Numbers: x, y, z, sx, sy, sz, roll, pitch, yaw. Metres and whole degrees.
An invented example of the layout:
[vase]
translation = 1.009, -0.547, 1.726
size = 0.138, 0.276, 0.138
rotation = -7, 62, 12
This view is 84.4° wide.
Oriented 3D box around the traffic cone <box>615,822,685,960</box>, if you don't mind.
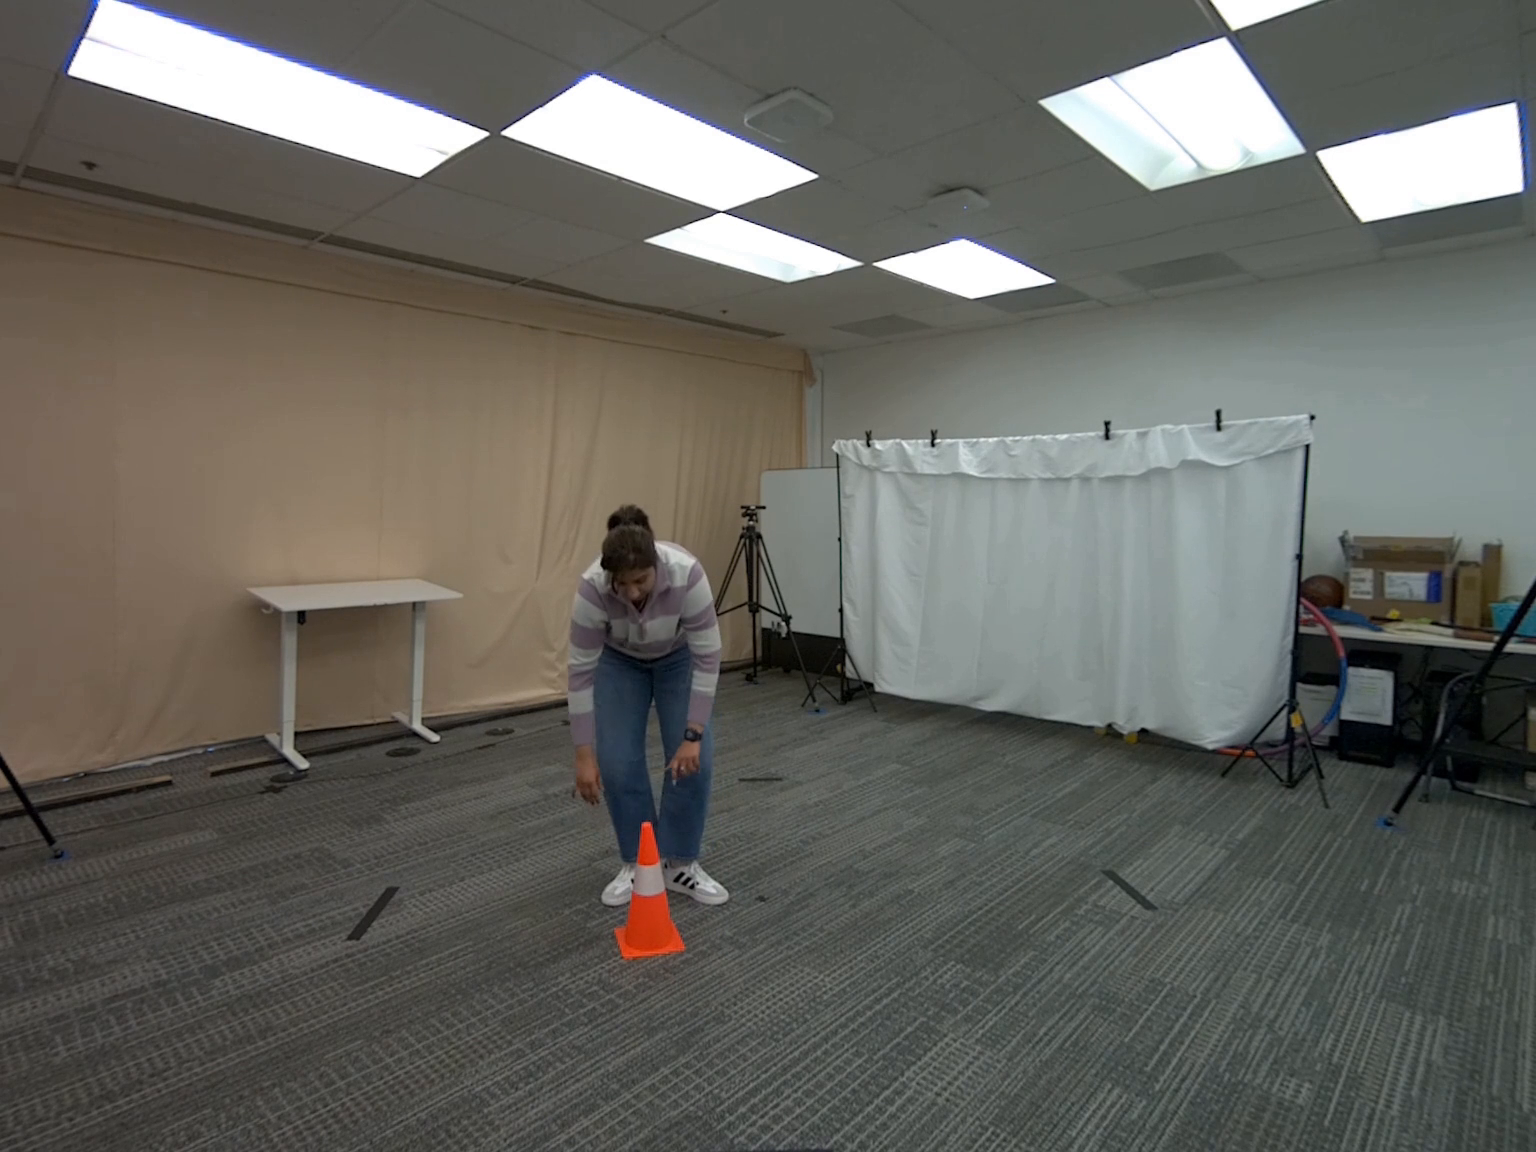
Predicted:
[traffic cone]
translation = -0.387, 0.980, 2.703
size = 0.202, 0.383, 0.207
rotation = -2, 3, -15
